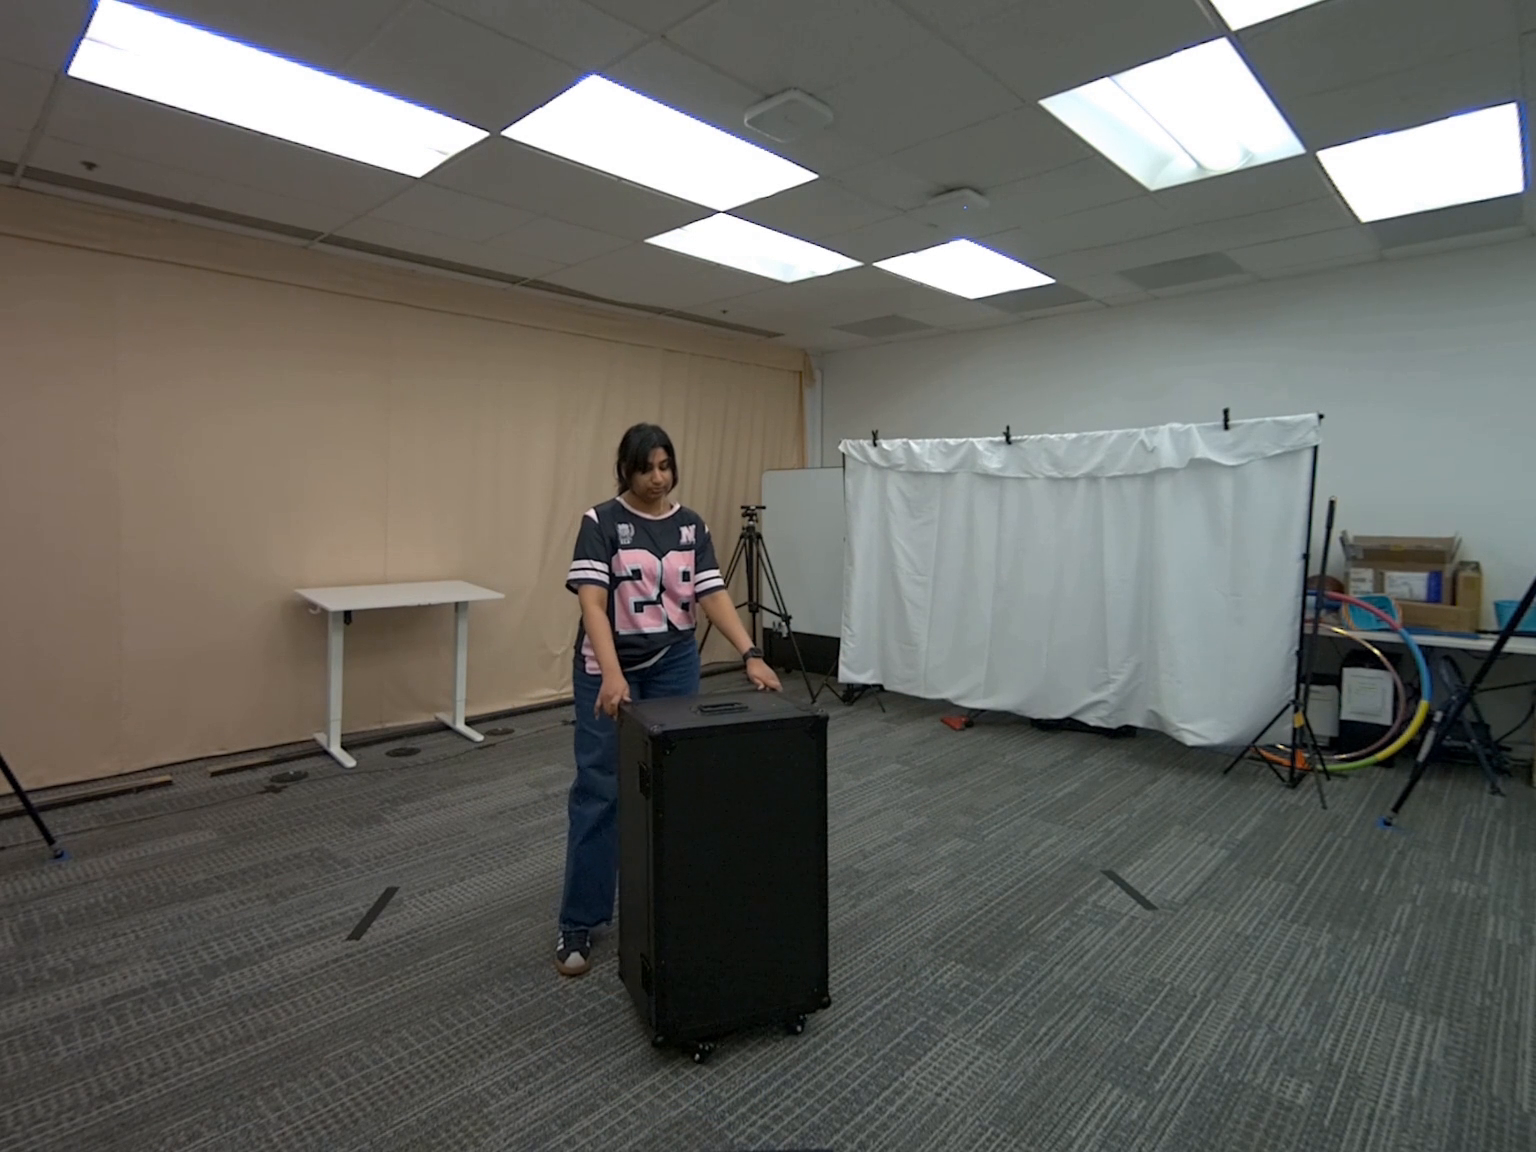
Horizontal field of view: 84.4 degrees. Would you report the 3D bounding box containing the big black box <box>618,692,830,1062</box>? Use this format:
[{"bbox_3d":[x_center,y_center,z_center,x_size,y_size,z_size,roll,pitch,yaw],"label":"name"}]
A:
[{"bbox_3d":[-0.132,0.782,2.283,0.512,0.867,0.394,-1,2,-23],"label":"big black box"}]
